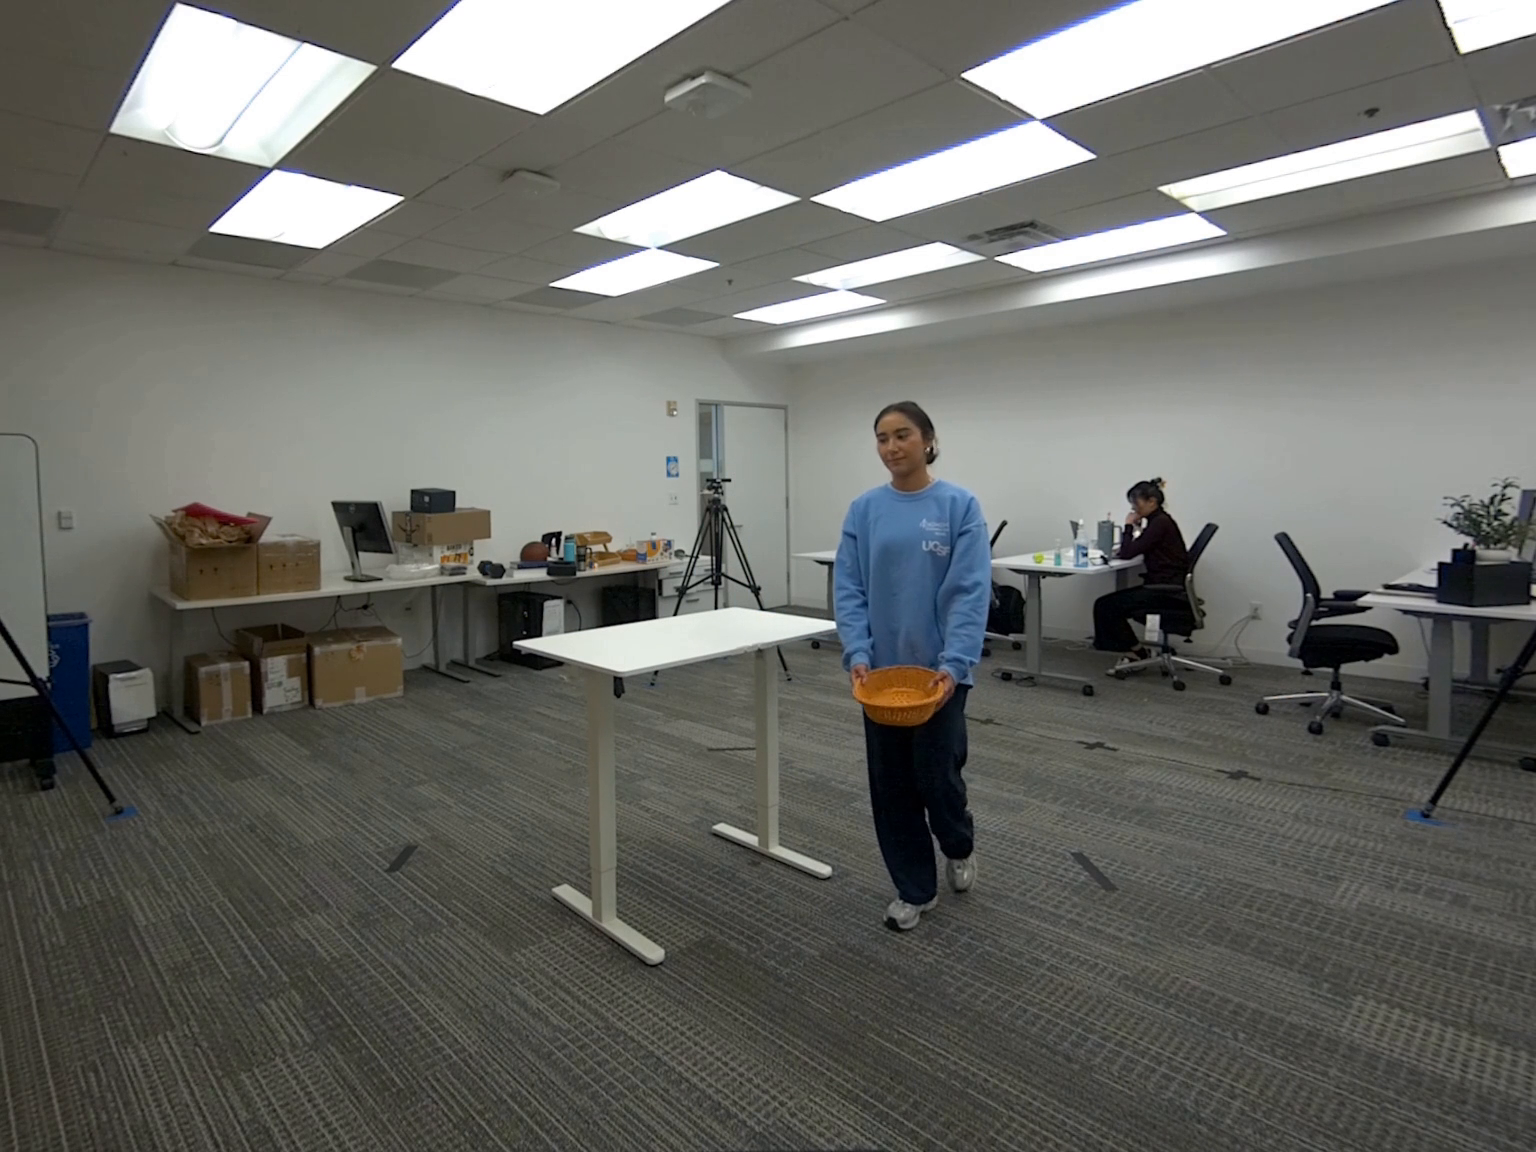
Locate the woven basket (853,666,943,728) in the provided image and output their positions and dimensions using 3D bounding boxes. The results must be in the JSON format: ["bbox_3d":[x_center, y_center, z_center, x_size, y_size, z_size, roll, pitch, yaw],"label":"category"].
[{"bbox_3d":[0.381,0.340,2.441,0.257,0.073,0.348,-1,12,17],"label":"woven basket"}]
